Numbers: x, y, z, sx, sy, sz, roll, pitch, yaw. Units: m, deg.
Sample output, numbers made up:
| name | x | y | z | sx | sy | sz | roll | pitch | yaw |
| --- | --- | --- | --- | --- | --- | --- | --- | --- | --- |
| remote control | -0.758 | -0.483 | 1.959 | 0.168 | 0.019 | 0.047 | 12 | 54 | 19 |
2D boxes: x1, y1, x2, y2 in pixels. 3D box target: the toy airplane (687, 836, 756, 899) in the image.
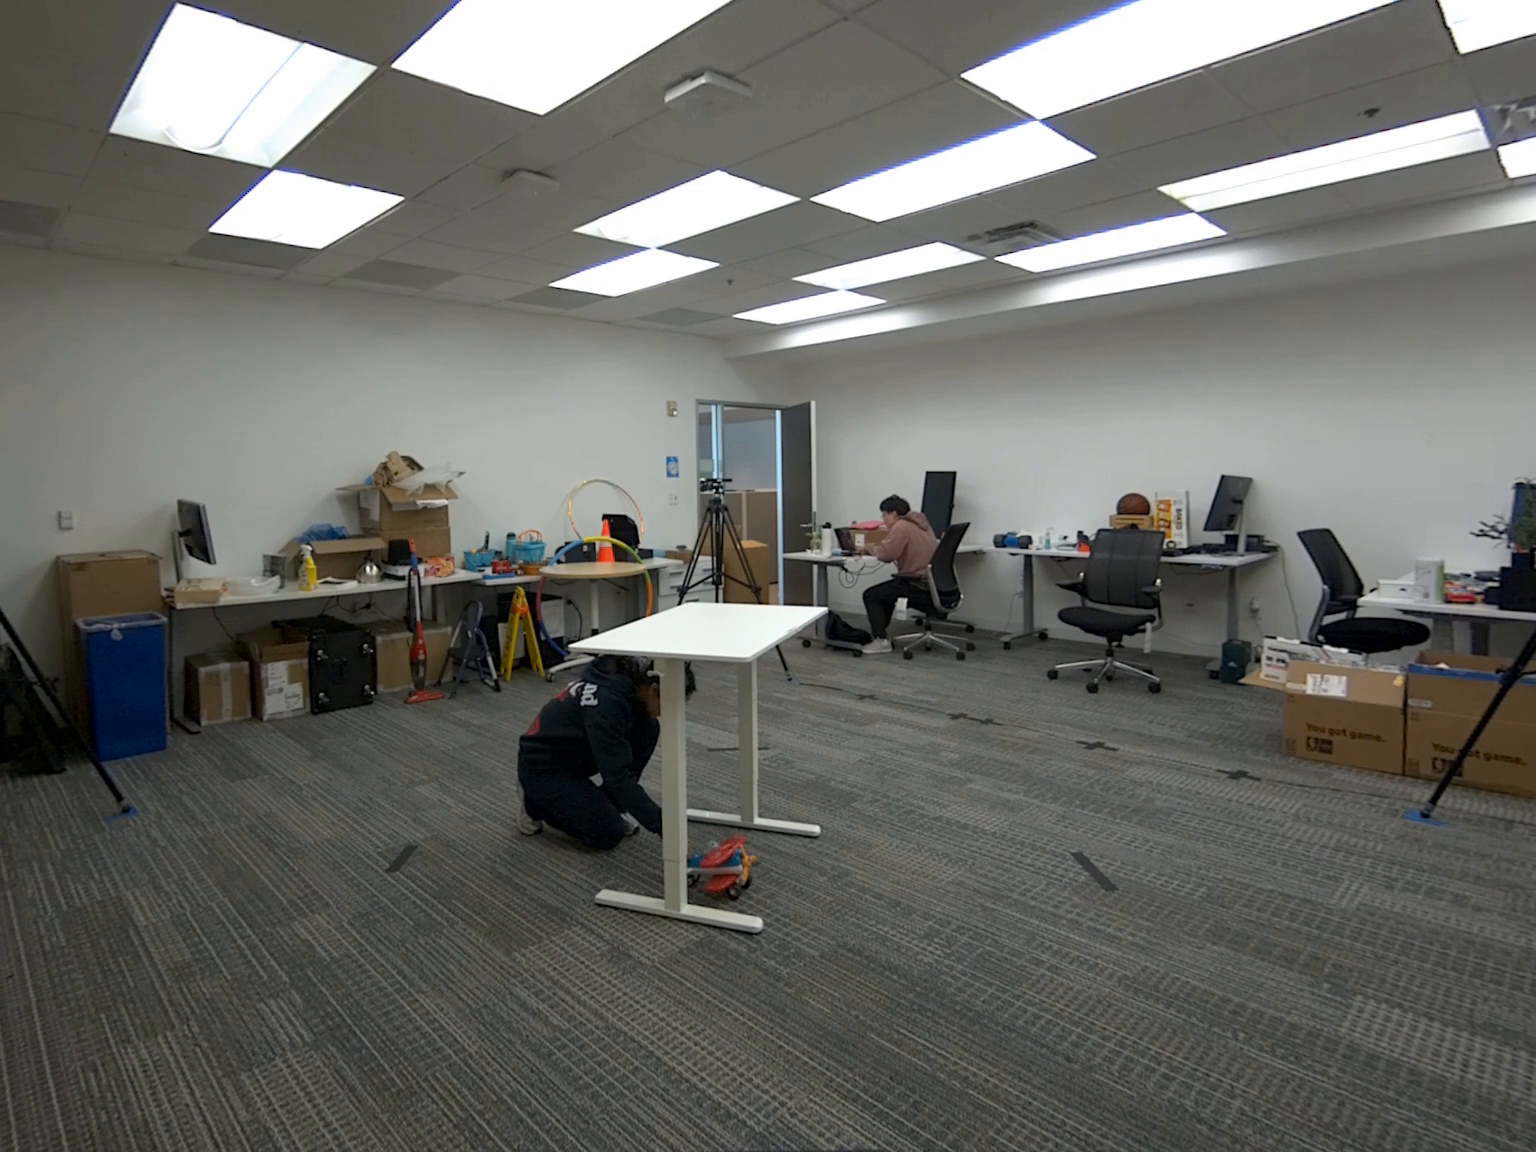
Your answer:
| name | x | y | z | sx | sy | sz | roll | pitch | yaw |
| --- | --- | --- | --- | --- | --- | --- | --- | --- | --- |
| toy airplane | -0.180 | 0.998 | 2.889 | 0.259 | 0.156 | 0.253 | 1 | 5 | -3 |
